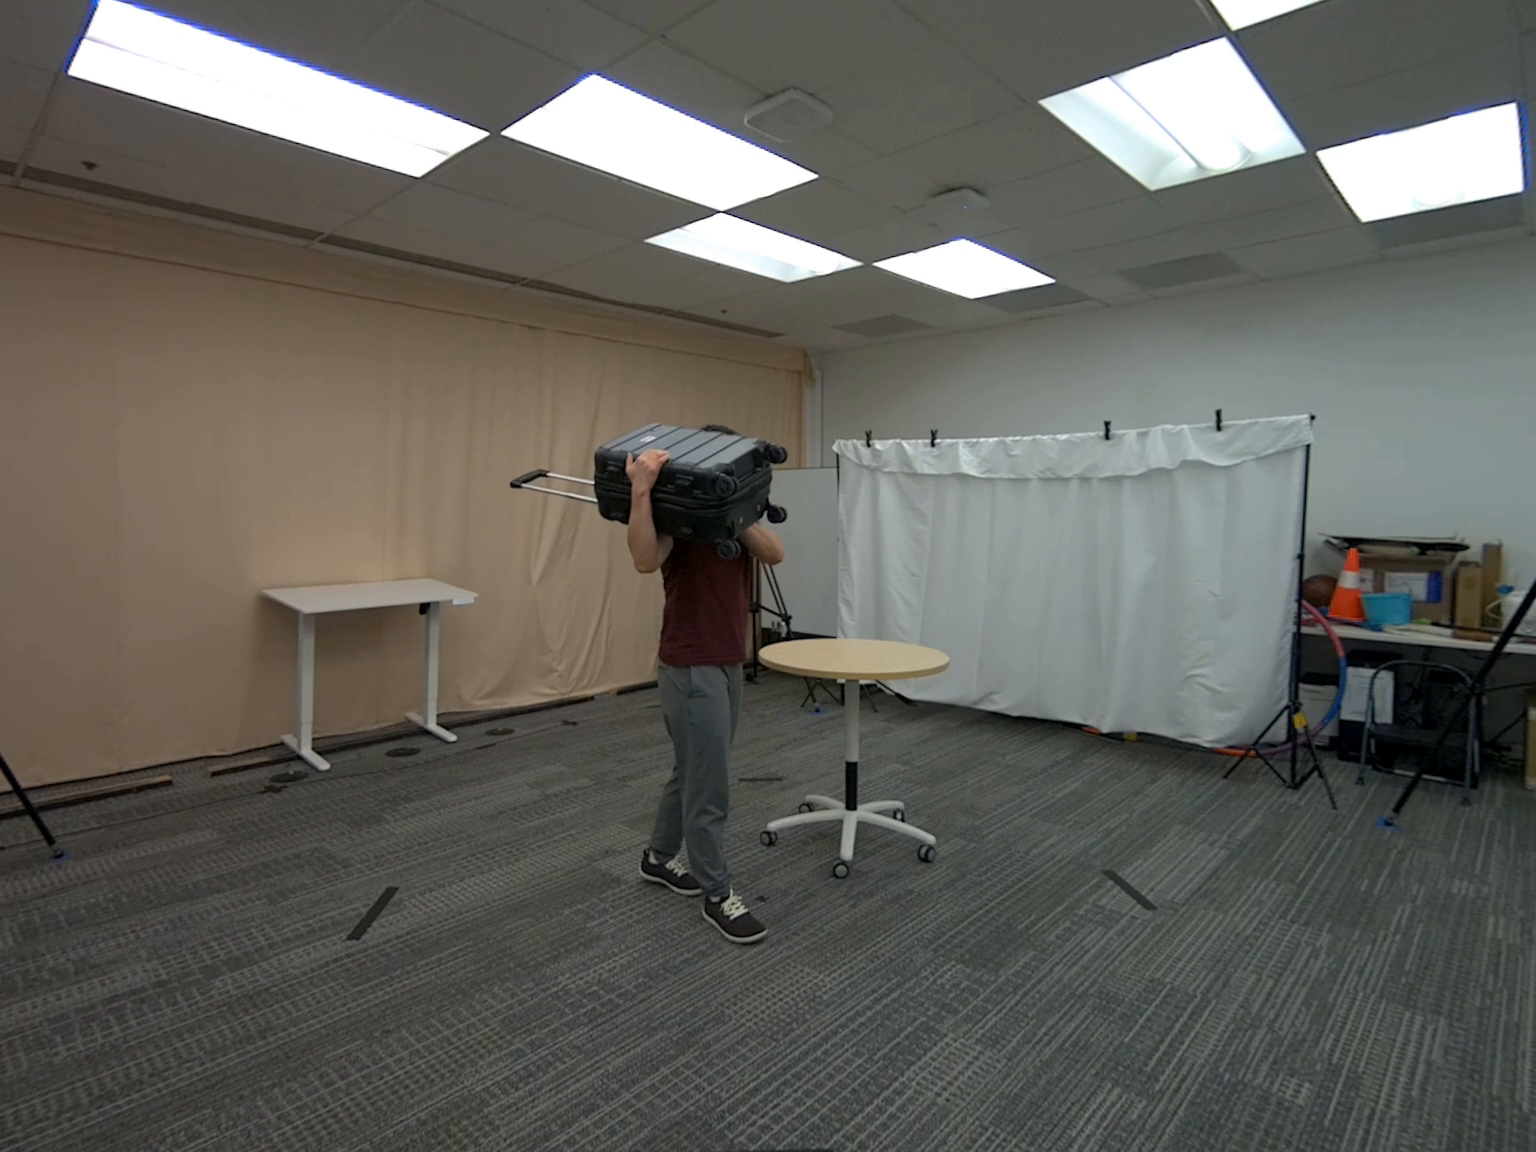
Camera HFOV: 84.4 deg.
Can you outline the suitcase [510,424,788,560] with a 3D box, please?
[{"bbox_3d":[-0.430,-0.345,2.745,1.009,0.253,0.378,15,32,29],"label":"suitcase"}]
